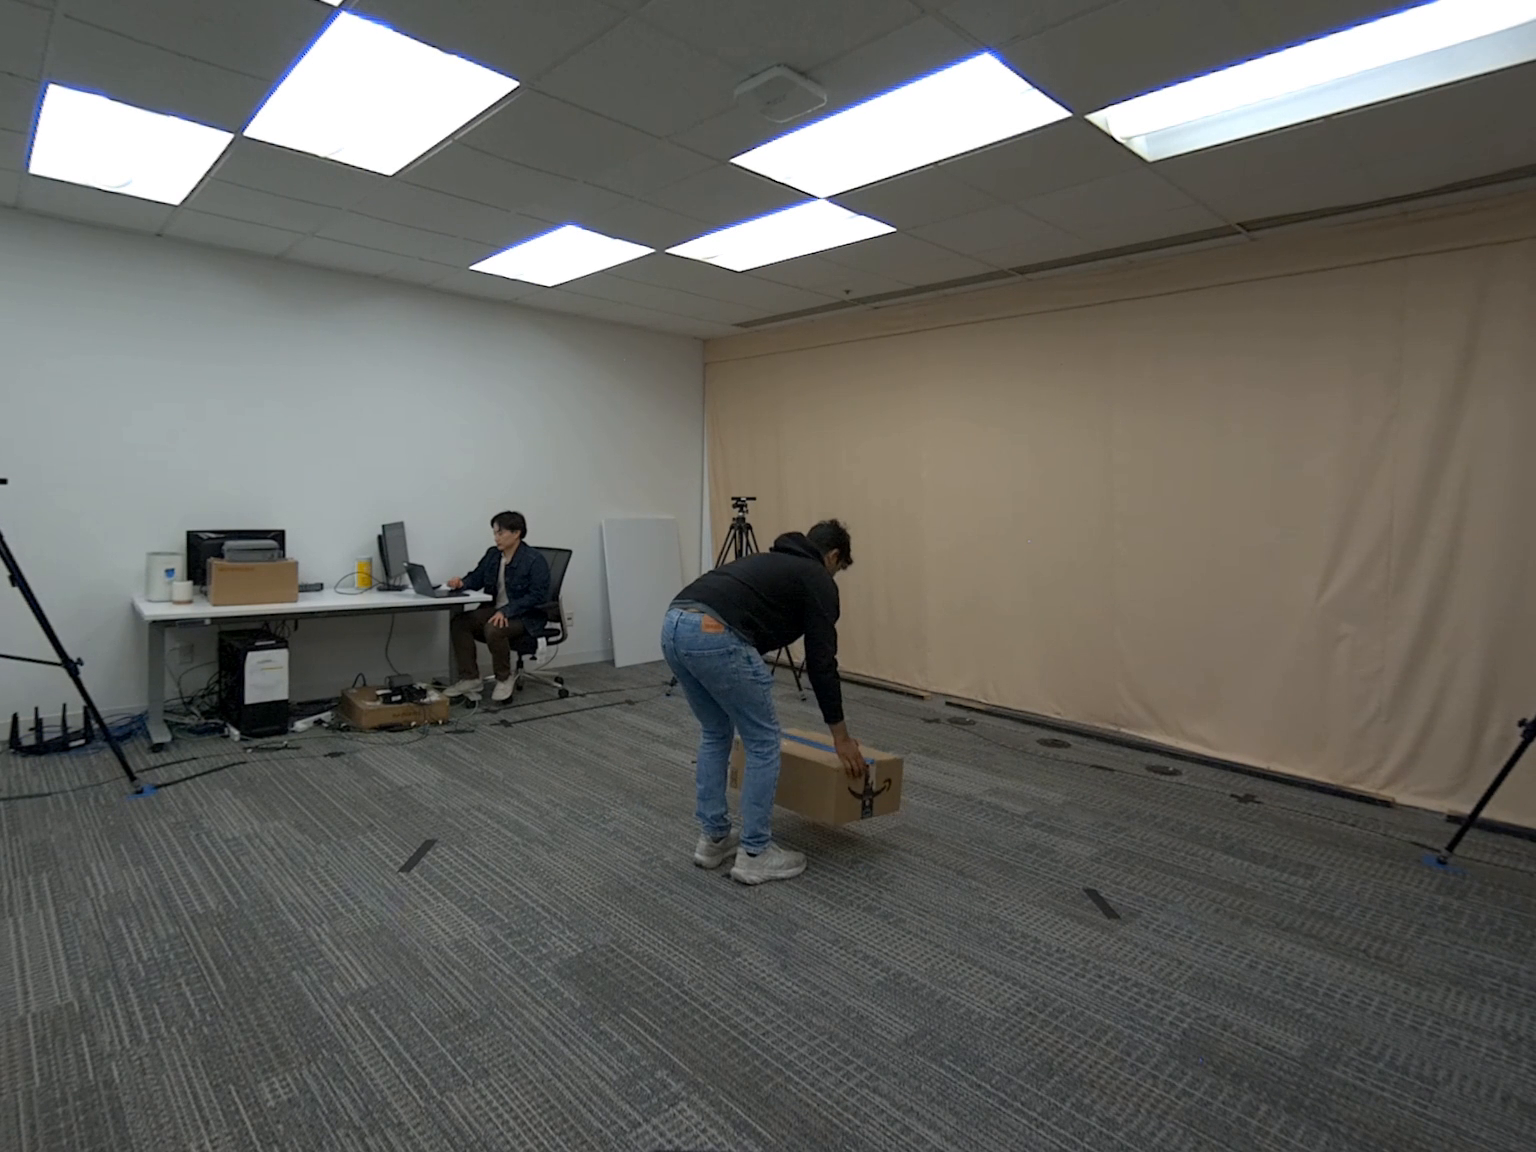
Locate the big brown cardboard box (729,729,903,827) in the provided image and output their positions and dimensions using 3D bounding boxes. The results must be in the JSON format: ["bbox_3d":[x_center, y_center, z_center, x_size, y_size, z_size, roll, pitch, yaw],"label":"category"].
[{"bbox_3d":[0.184,0.793,3.442,0.407,0.233,0.604,3,3,-44],"label":"big brown cardboard box"}]
